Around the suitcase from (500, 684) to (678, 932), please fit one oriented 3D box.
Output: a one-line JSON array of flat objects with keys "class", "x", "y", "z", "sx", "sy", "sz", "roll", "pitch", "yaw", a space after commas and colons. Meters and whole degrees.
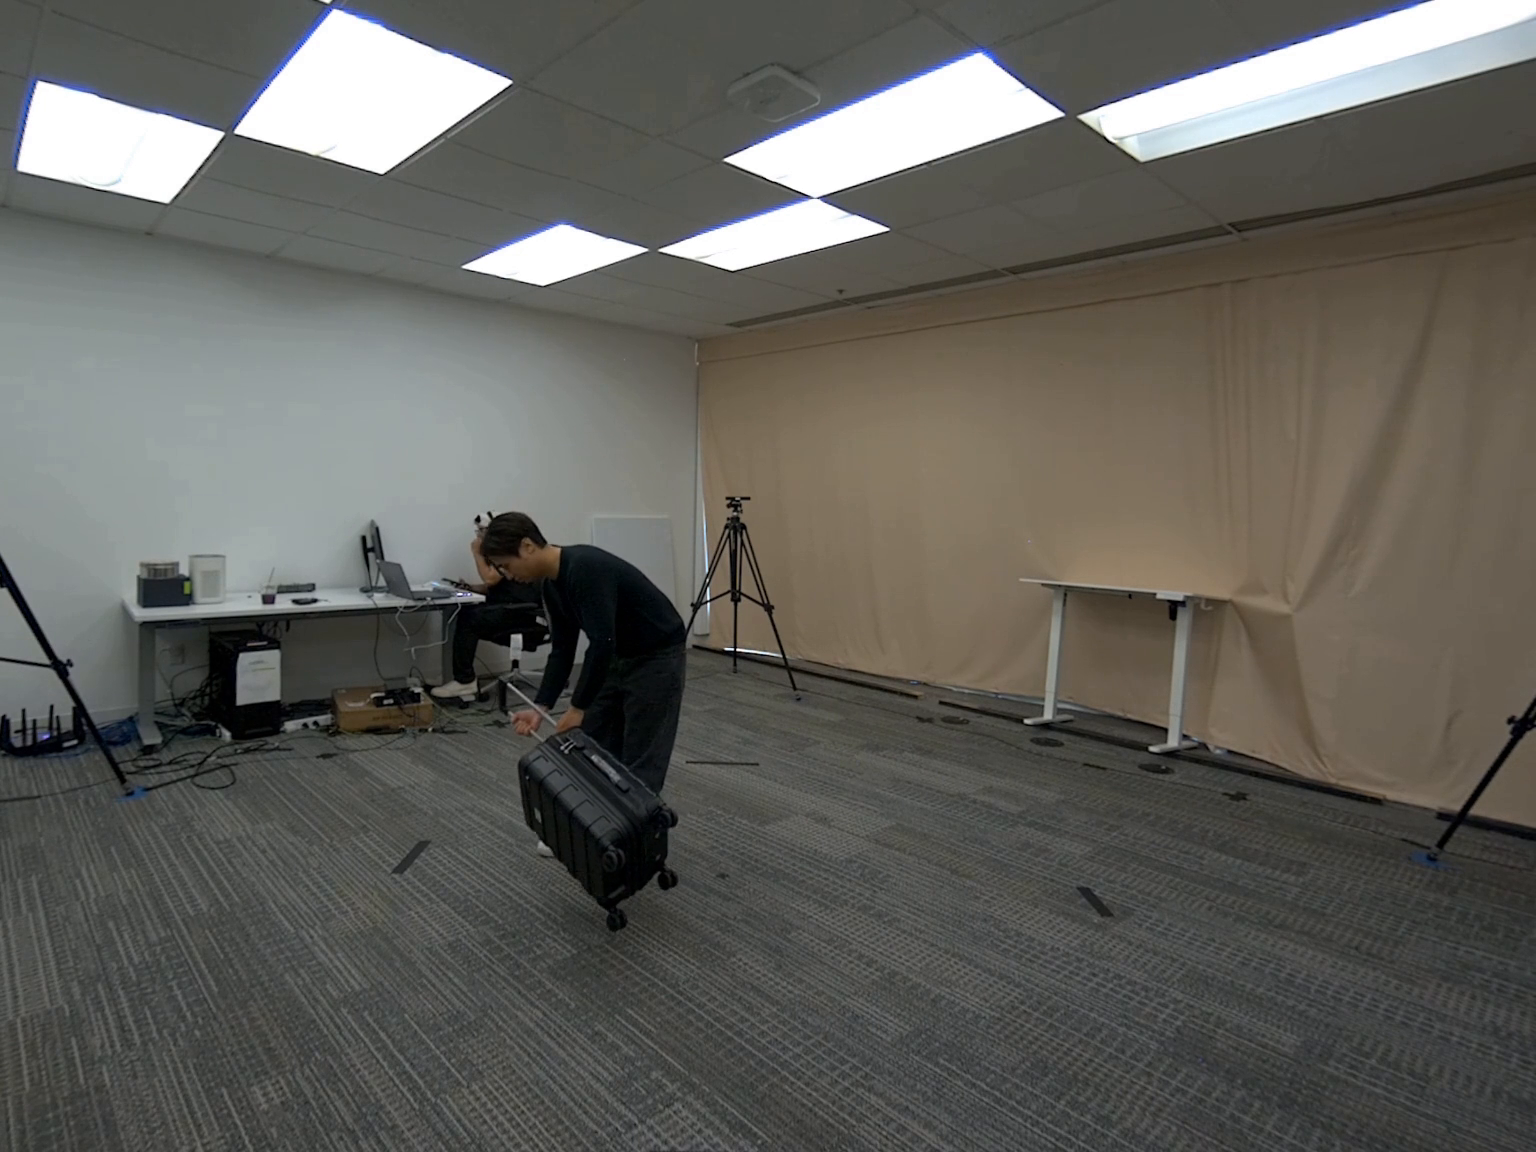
[{"class": "suitcase", "x": -0.720, "y": 0.689, "z": 2.804, "sx": 1.008, "sy": 0.377, "sz": 0.254, "roll": 31, "pitch": 42, "yaw": 34}]
